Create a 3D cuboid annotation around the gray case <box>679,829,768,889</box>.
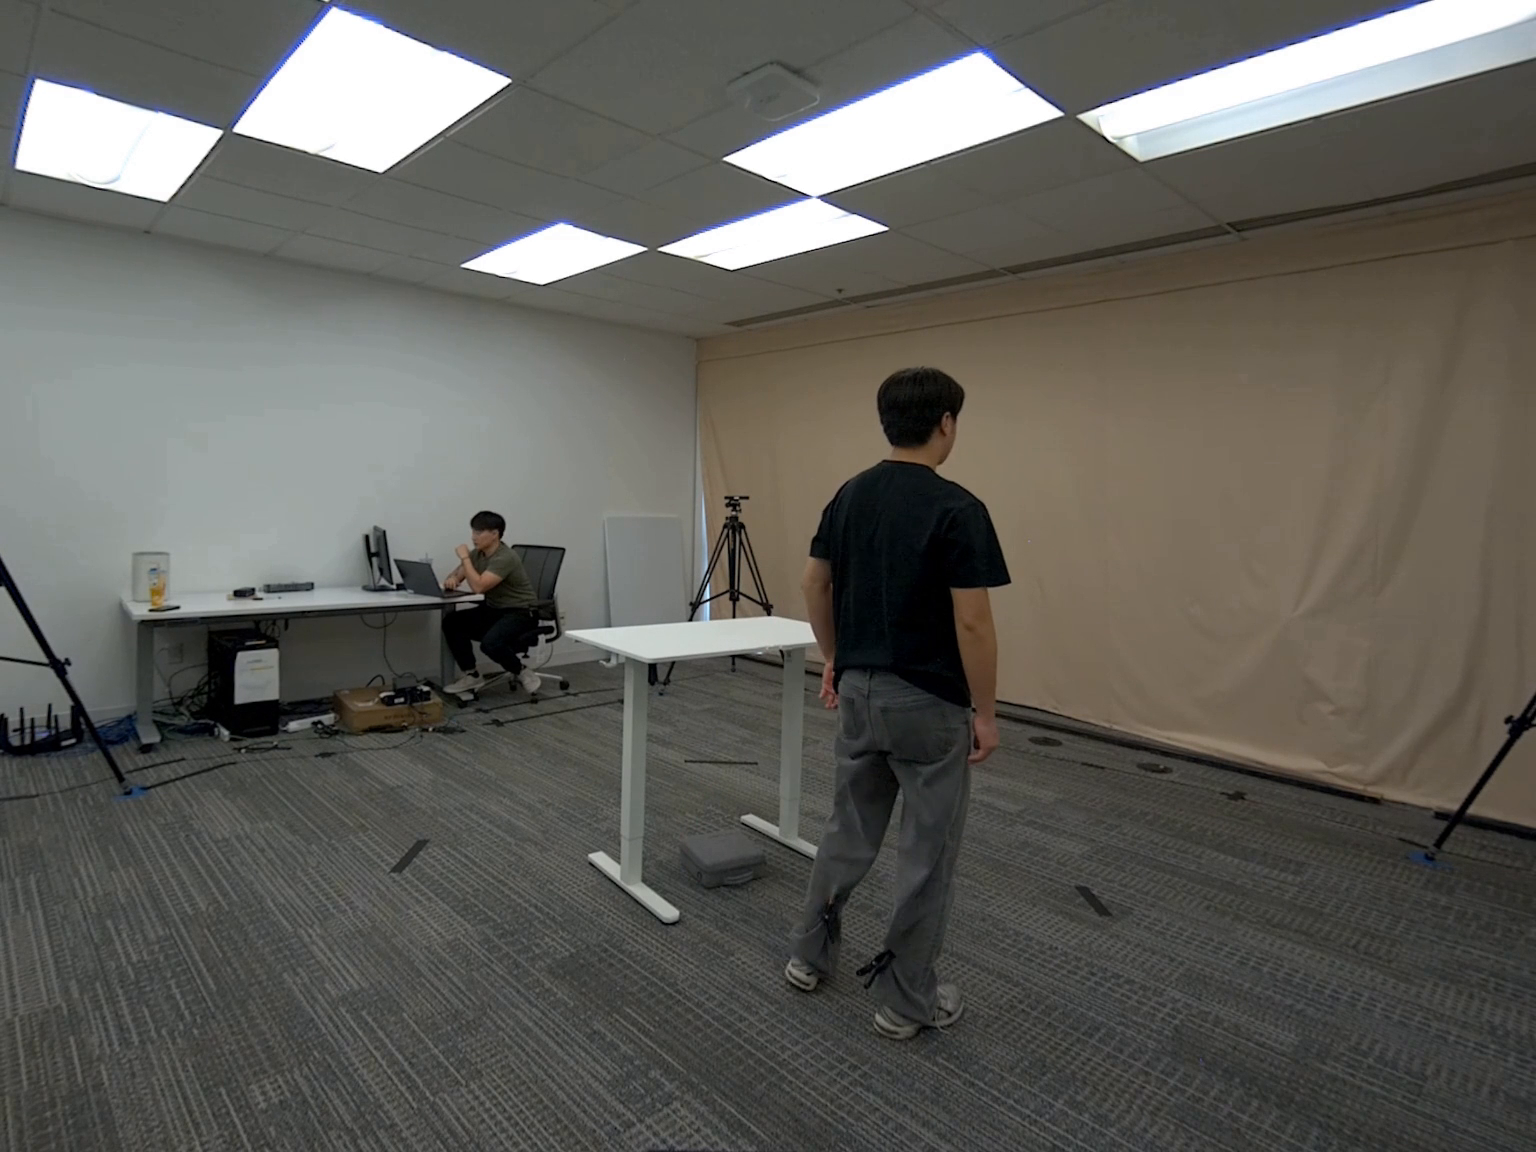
[{"bbox_3d":[-0.181,1.043,3.137,0.258,0.103,0.293,-2,6,-27],"label":"gray case"}]
